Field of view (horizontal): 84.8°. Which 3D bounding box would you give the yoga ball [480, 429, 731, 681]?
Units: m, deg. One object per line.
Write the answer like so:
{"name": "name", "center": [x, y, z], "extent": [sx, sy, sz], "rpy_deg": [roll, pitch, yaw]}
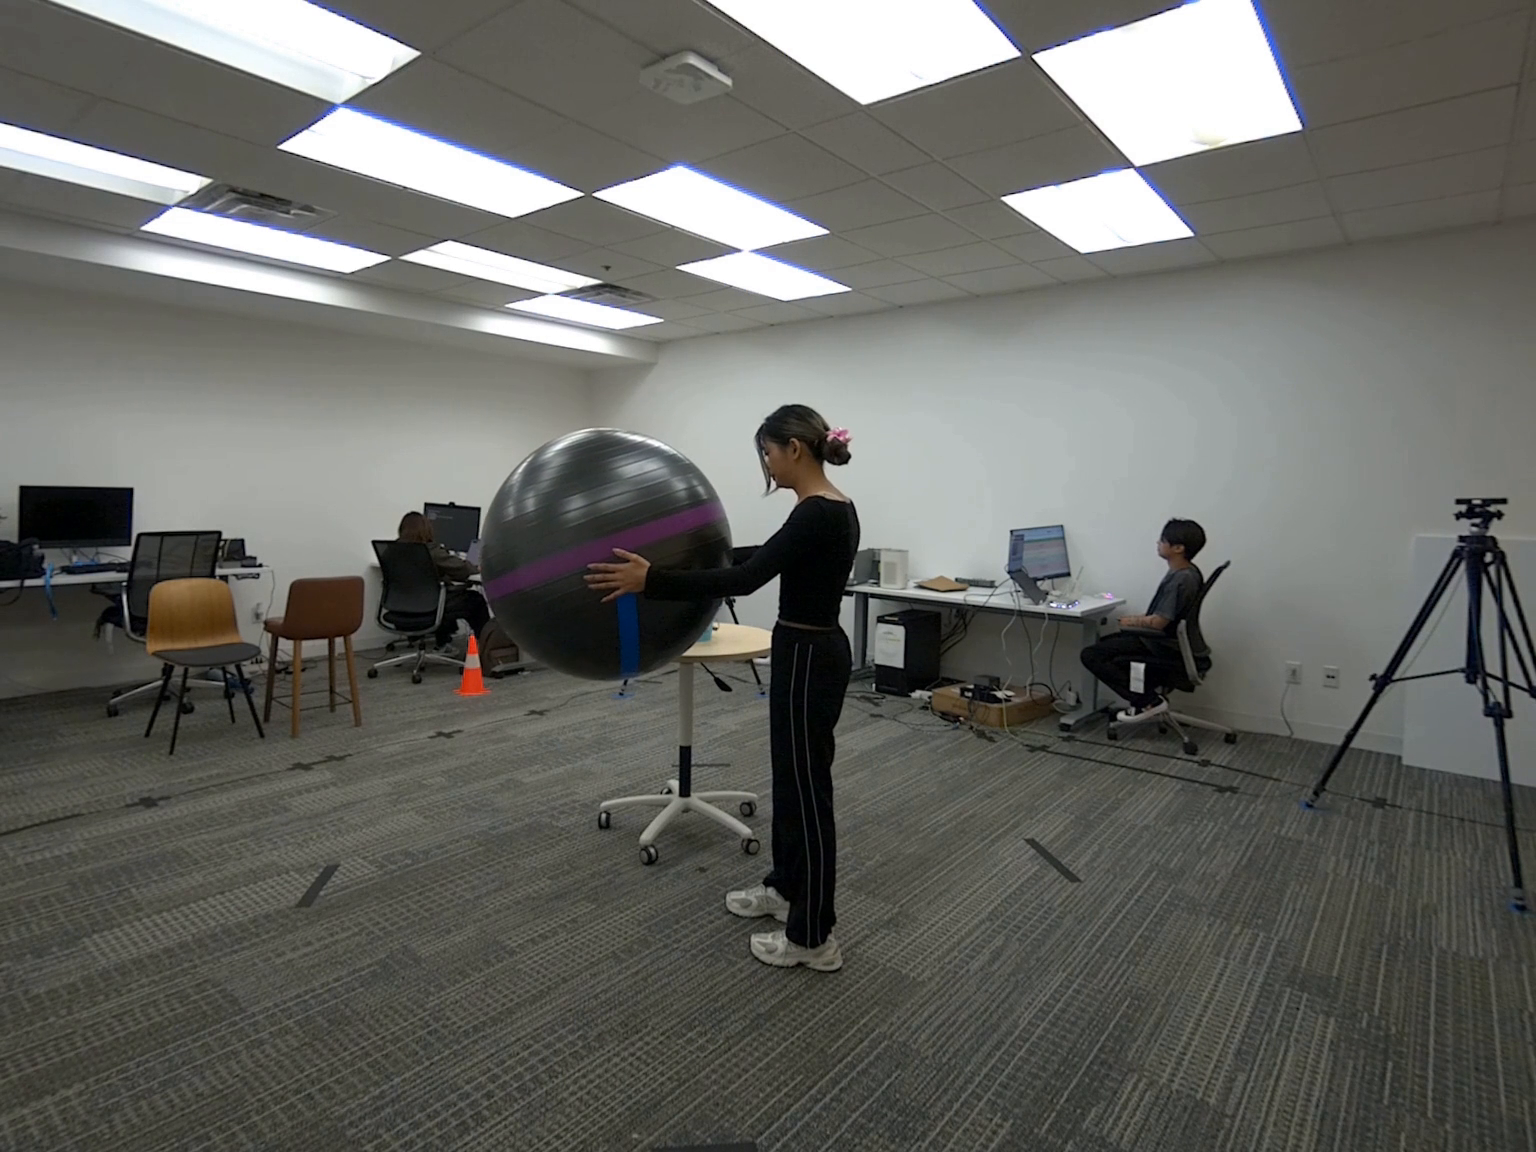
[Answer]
{"name": "yoga ball", "center": [-0.510, -0.061, 2.578], "extent": [0.757, 0.756, 0.762], "rpy_deg": [1, 4, -2]}
